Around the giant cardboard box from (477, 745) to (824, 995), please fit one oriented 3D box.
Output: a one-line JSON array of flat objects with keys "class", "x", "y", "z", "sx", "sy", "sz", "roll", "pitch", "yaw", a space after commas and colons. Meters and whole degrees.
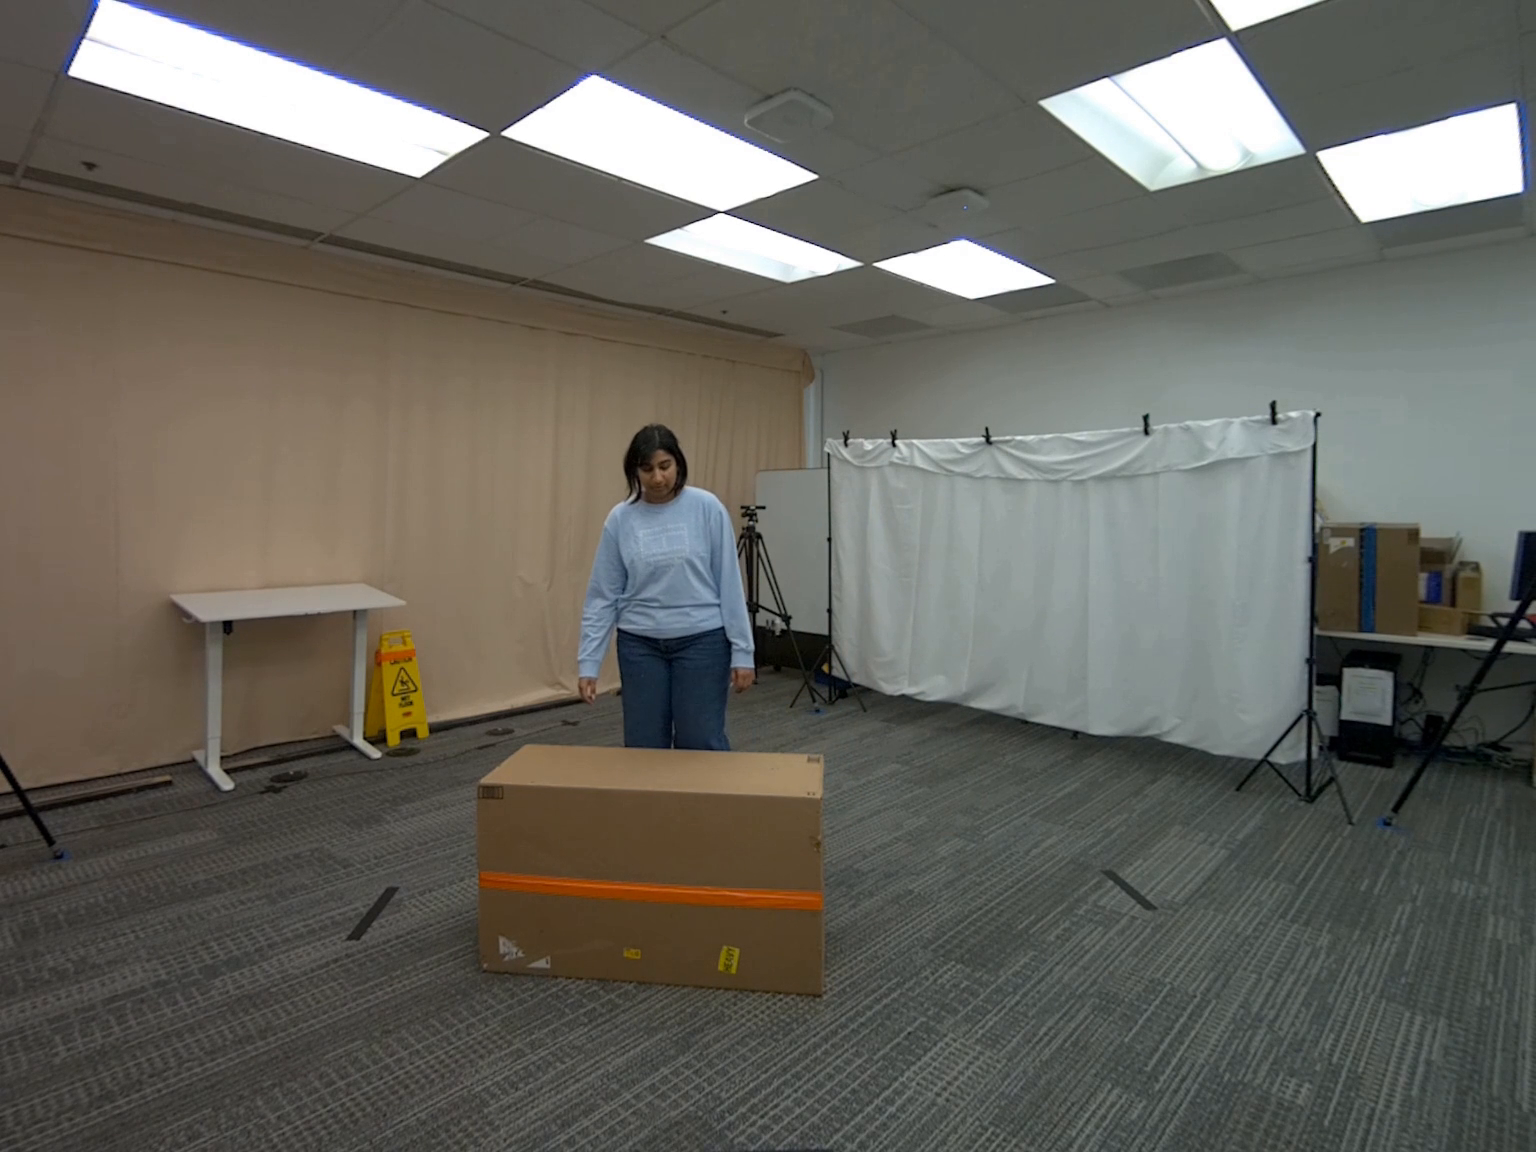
[{"class": "giant cardboard box", "x": -0.338, "y": 0.884, "z": 2.642, "sx": 1.035, "sy": 0.576, "sz": 0.424, "roll": 1, "pitch": 4, "yaw": 7}]
